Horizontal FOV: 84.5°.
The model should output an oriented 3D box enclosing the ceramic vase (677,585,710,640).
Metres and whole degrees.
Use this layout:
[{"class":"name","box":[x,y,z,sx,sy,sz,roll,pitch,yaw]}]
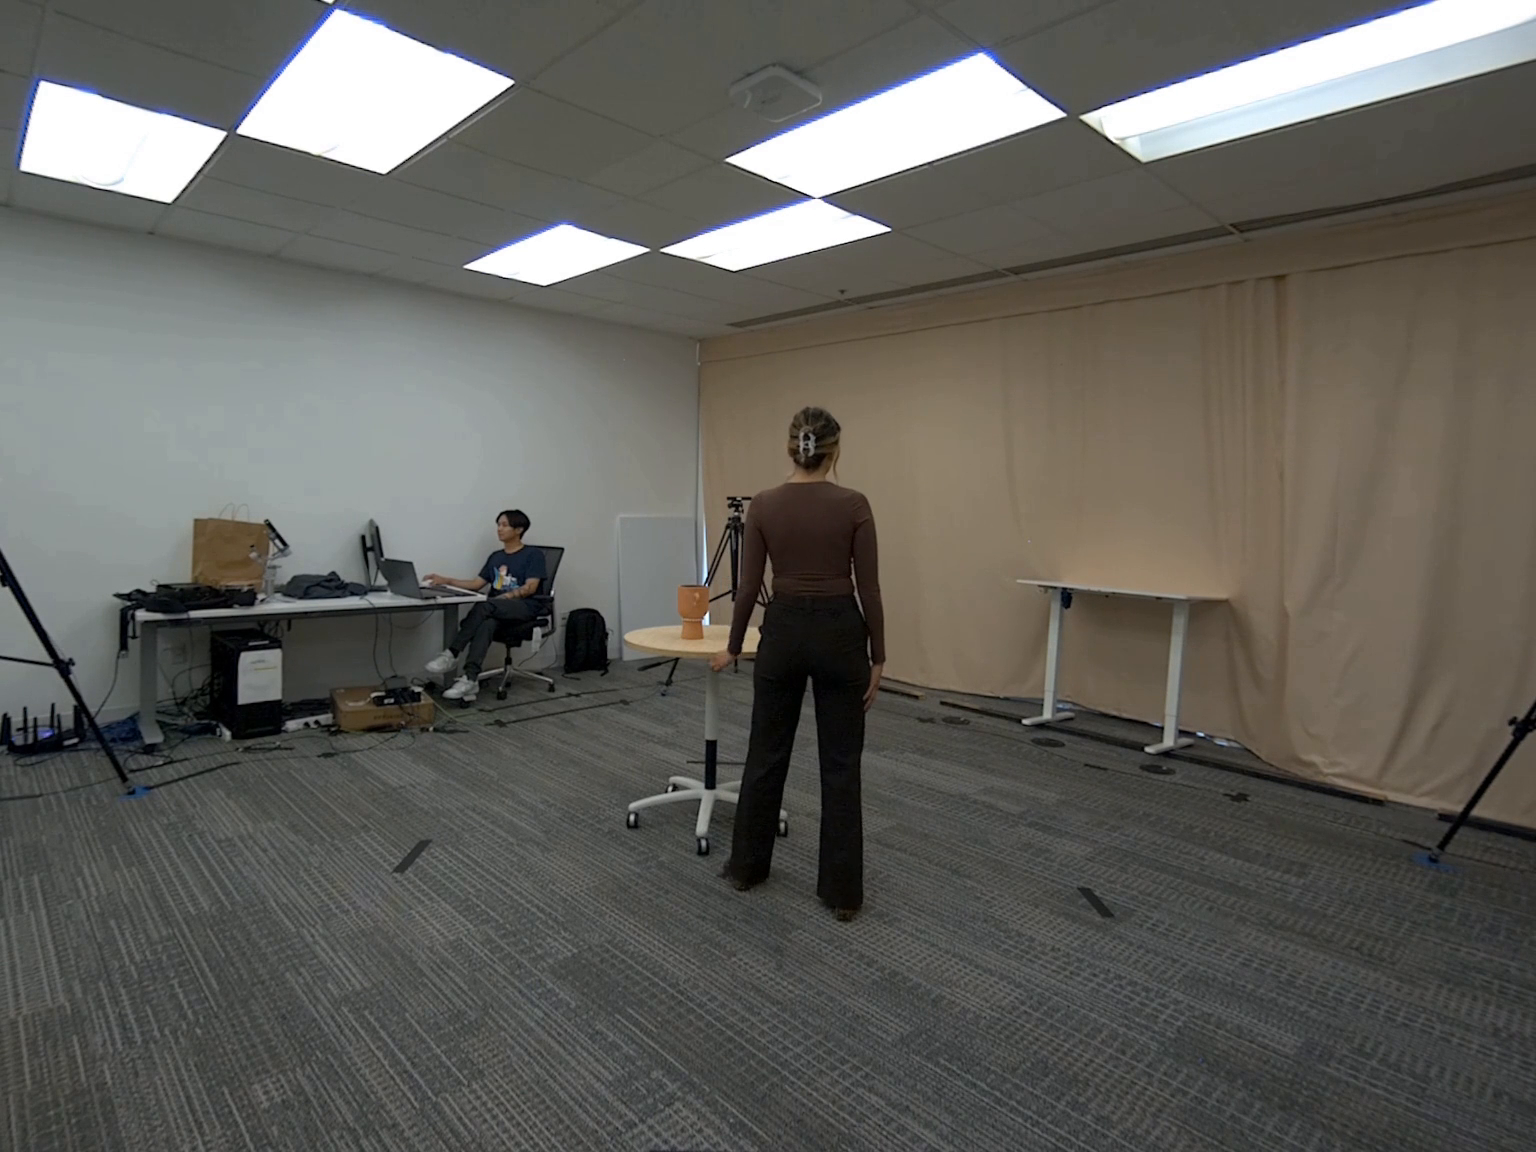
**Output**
[{"class":"ceramic vase","box":[-0.329,0.154,3.576,0.137,0.219,0.156,2,3,23]}]
